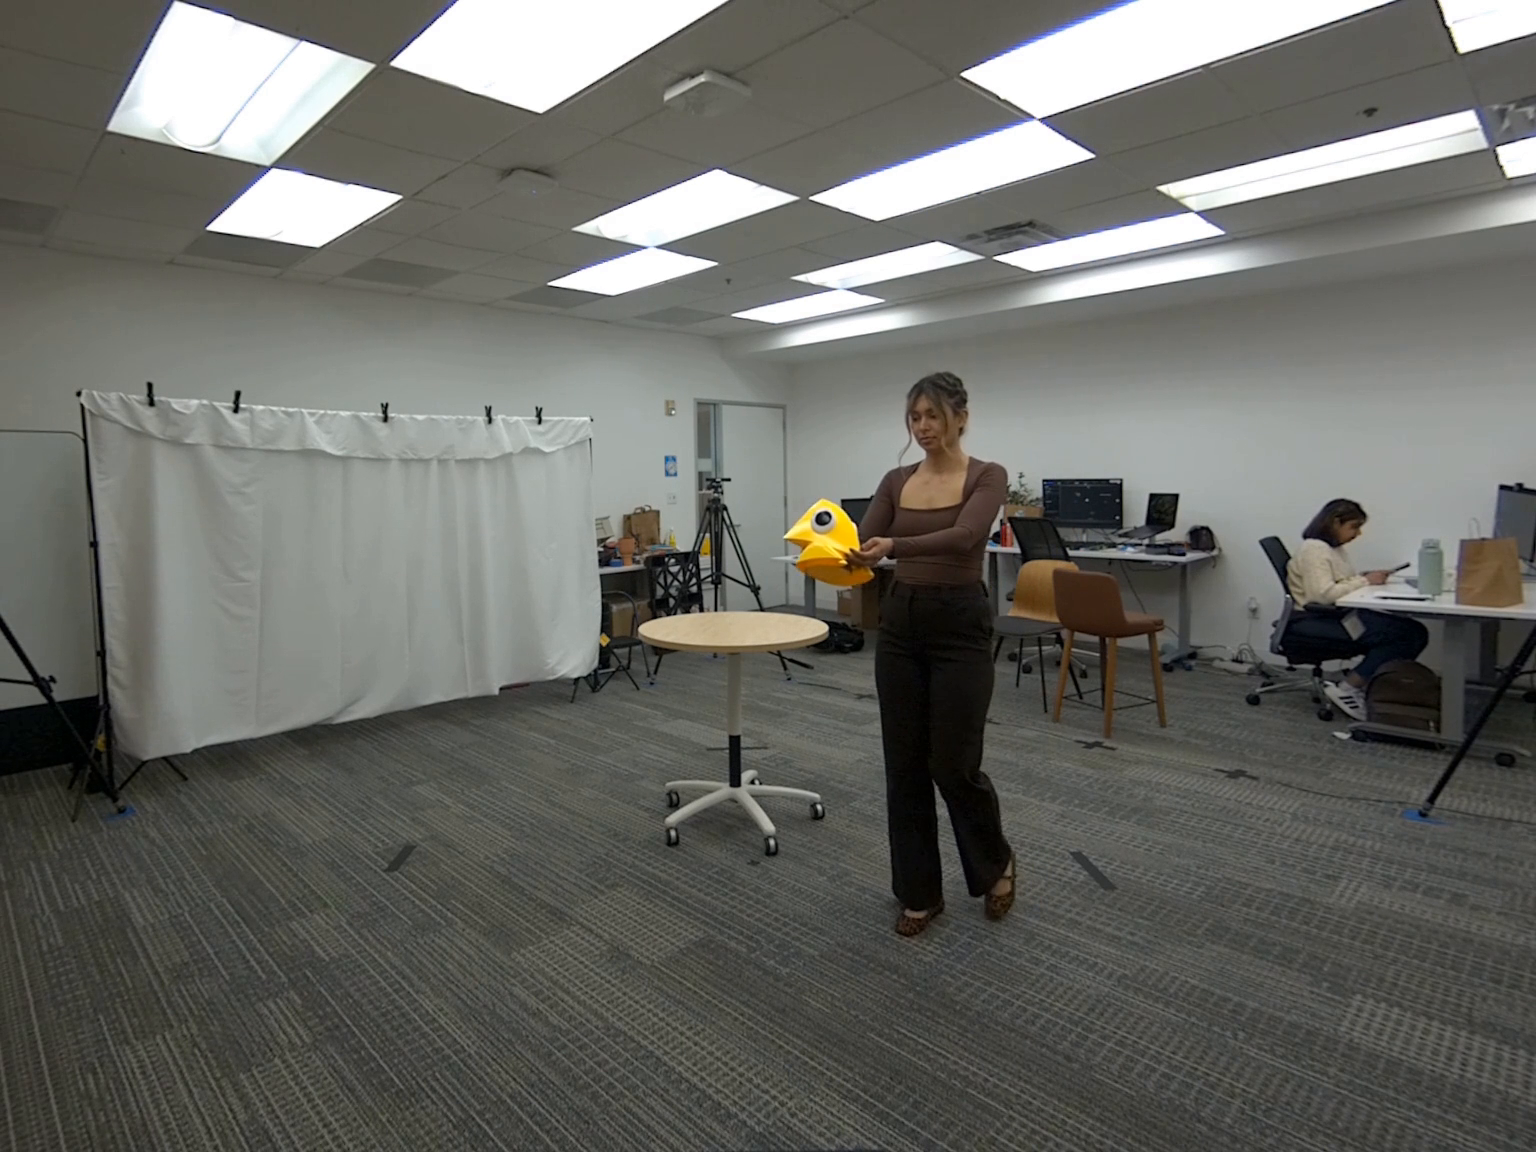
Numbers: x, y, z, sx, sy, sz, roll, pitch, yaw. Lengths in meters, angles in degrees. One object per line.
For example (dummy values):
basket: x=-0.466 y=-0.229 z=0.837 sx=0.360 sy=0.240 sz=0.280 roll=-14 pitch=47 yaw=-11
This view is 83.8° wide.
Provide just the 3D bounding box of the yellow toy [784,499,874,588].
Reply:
yellow toy: x=0.193 y=-0.113 z=2.297 sx=0.197 sy=0.234 sz=0.197 roll=25 pitch=-27 yaw=-38
